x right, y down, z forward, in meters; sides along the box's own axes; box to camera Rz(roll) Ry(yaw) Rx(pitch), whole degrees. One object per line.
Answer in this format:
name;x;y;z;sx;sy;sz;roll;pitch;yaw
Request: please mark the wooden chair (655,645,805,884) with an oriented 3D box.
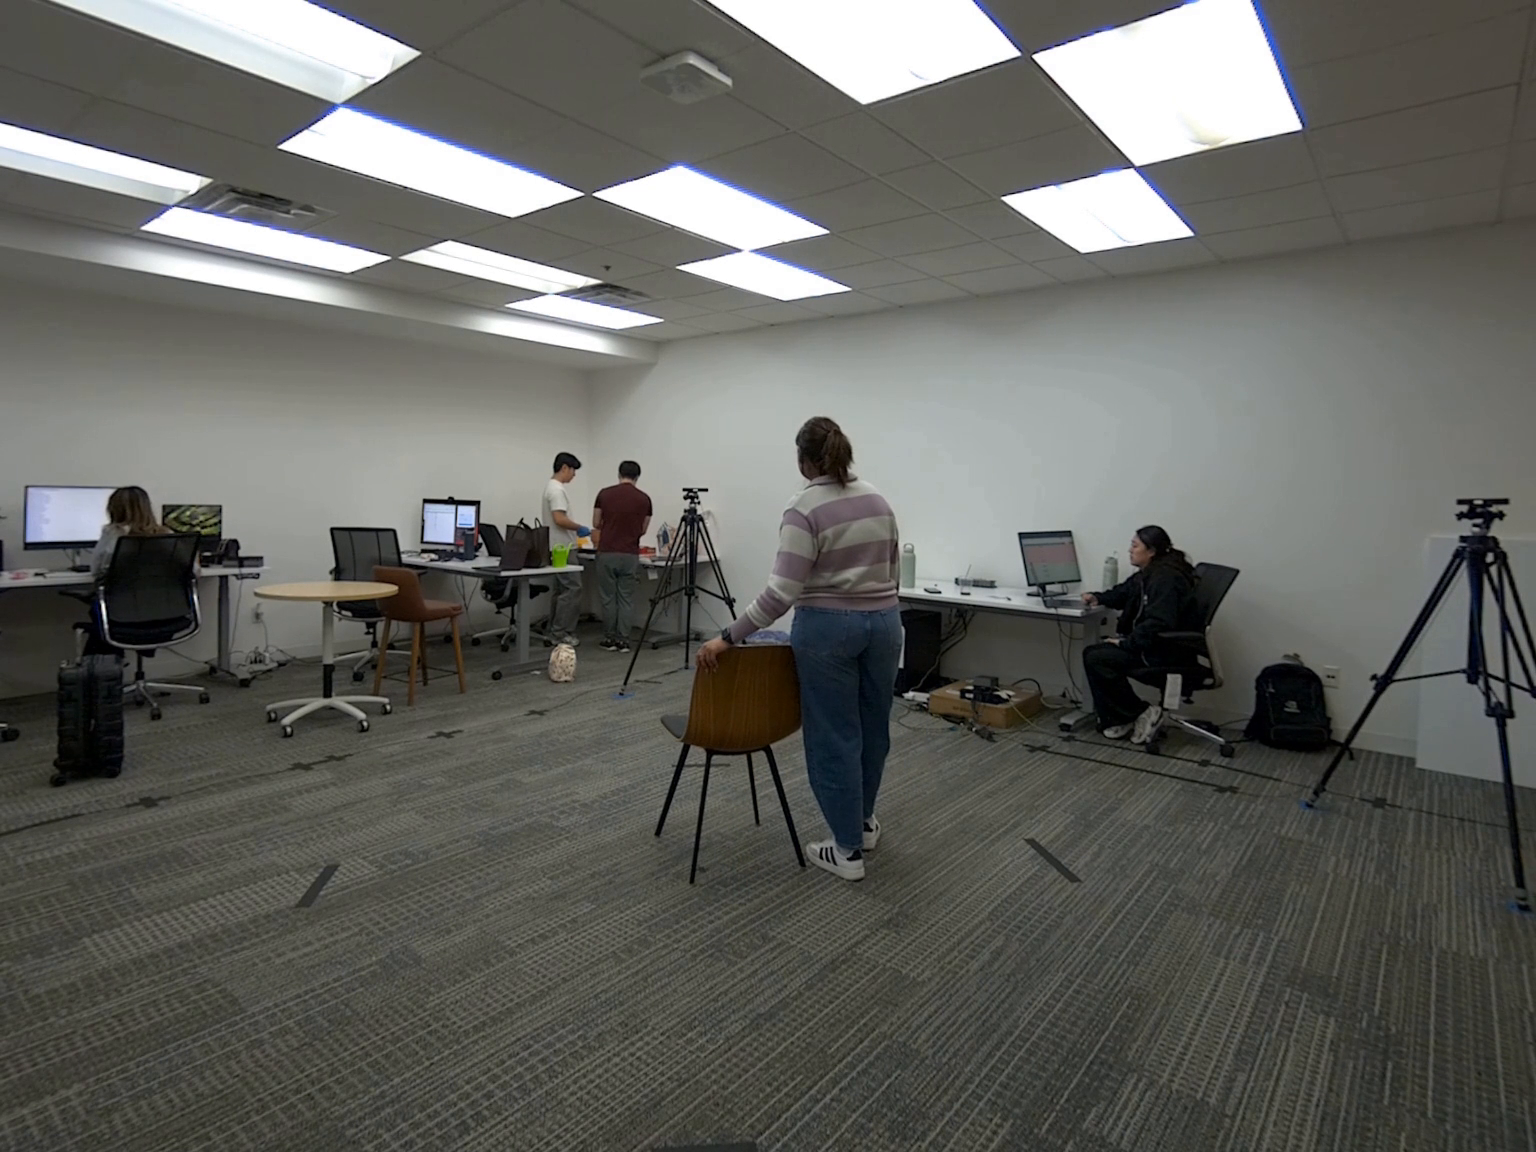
wooden chair;-0.167;0.628;3.254;0.468;0.872;0.538;0;7;-22
